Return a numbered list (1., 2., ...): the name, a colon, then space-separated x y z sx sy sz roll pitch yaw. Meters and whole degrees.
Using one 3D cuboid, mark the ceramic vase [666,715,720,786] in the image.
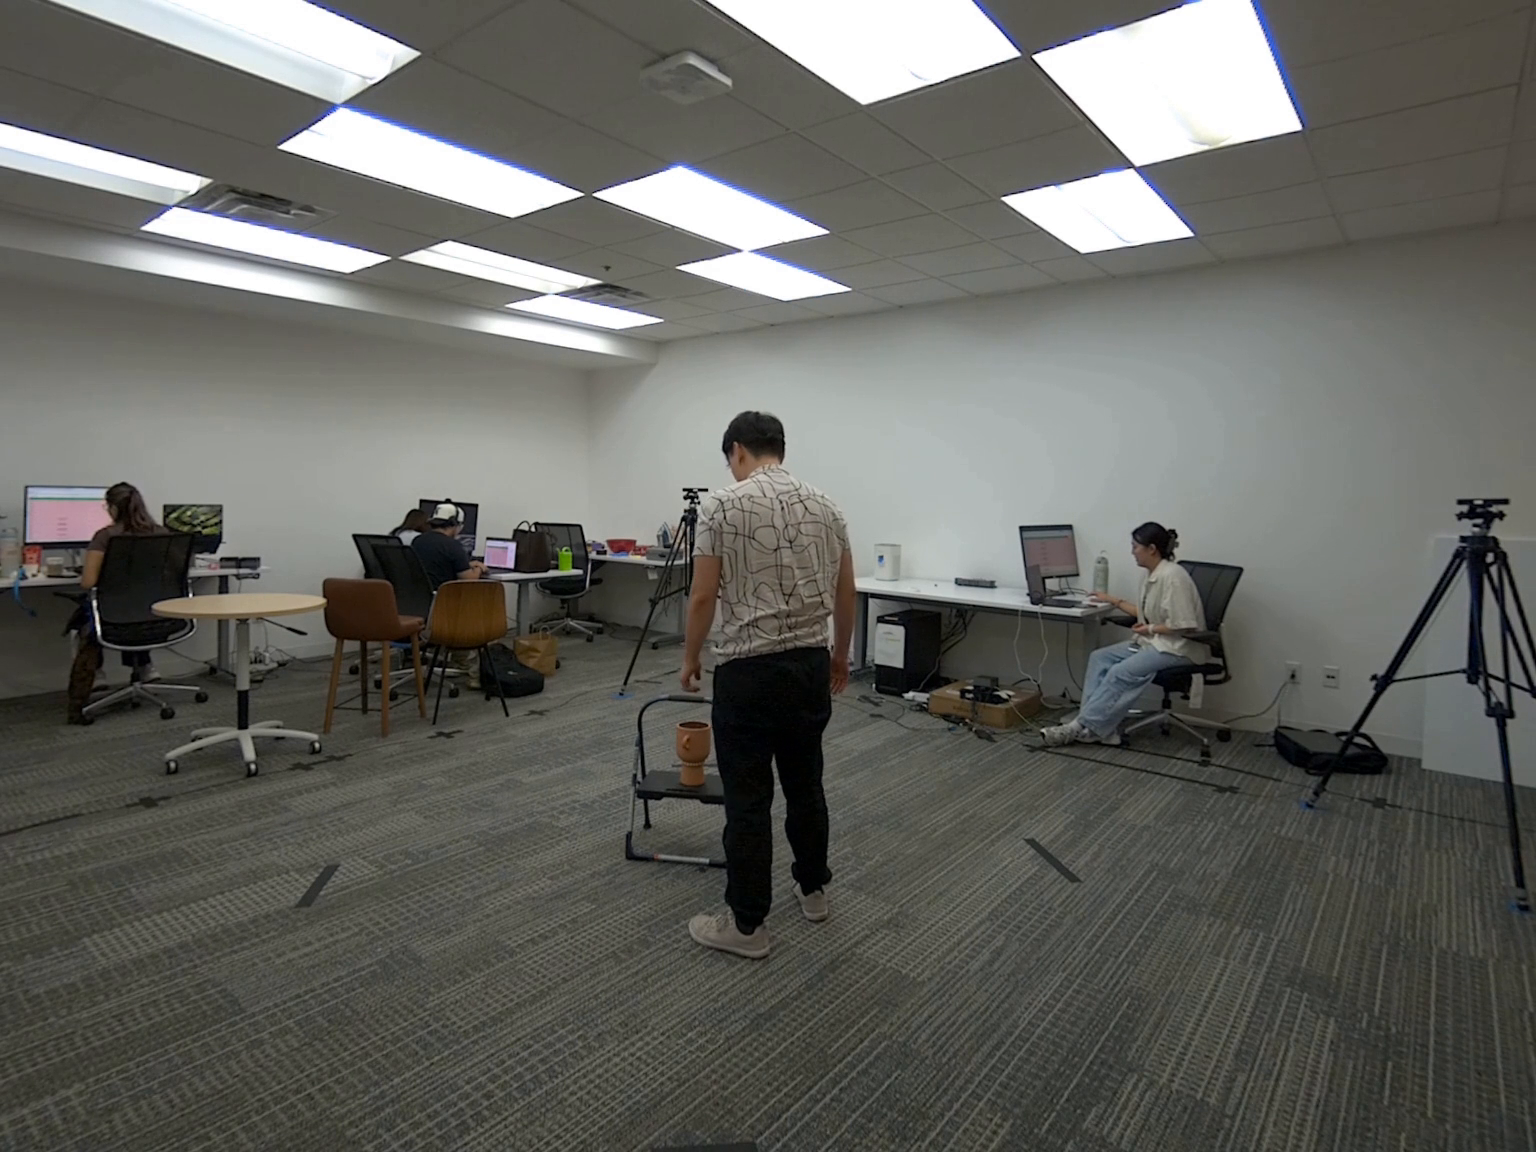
1. ceramic vase: -0.291 0.672 3.268 0.154 0.219 0.139 0 3 -34
